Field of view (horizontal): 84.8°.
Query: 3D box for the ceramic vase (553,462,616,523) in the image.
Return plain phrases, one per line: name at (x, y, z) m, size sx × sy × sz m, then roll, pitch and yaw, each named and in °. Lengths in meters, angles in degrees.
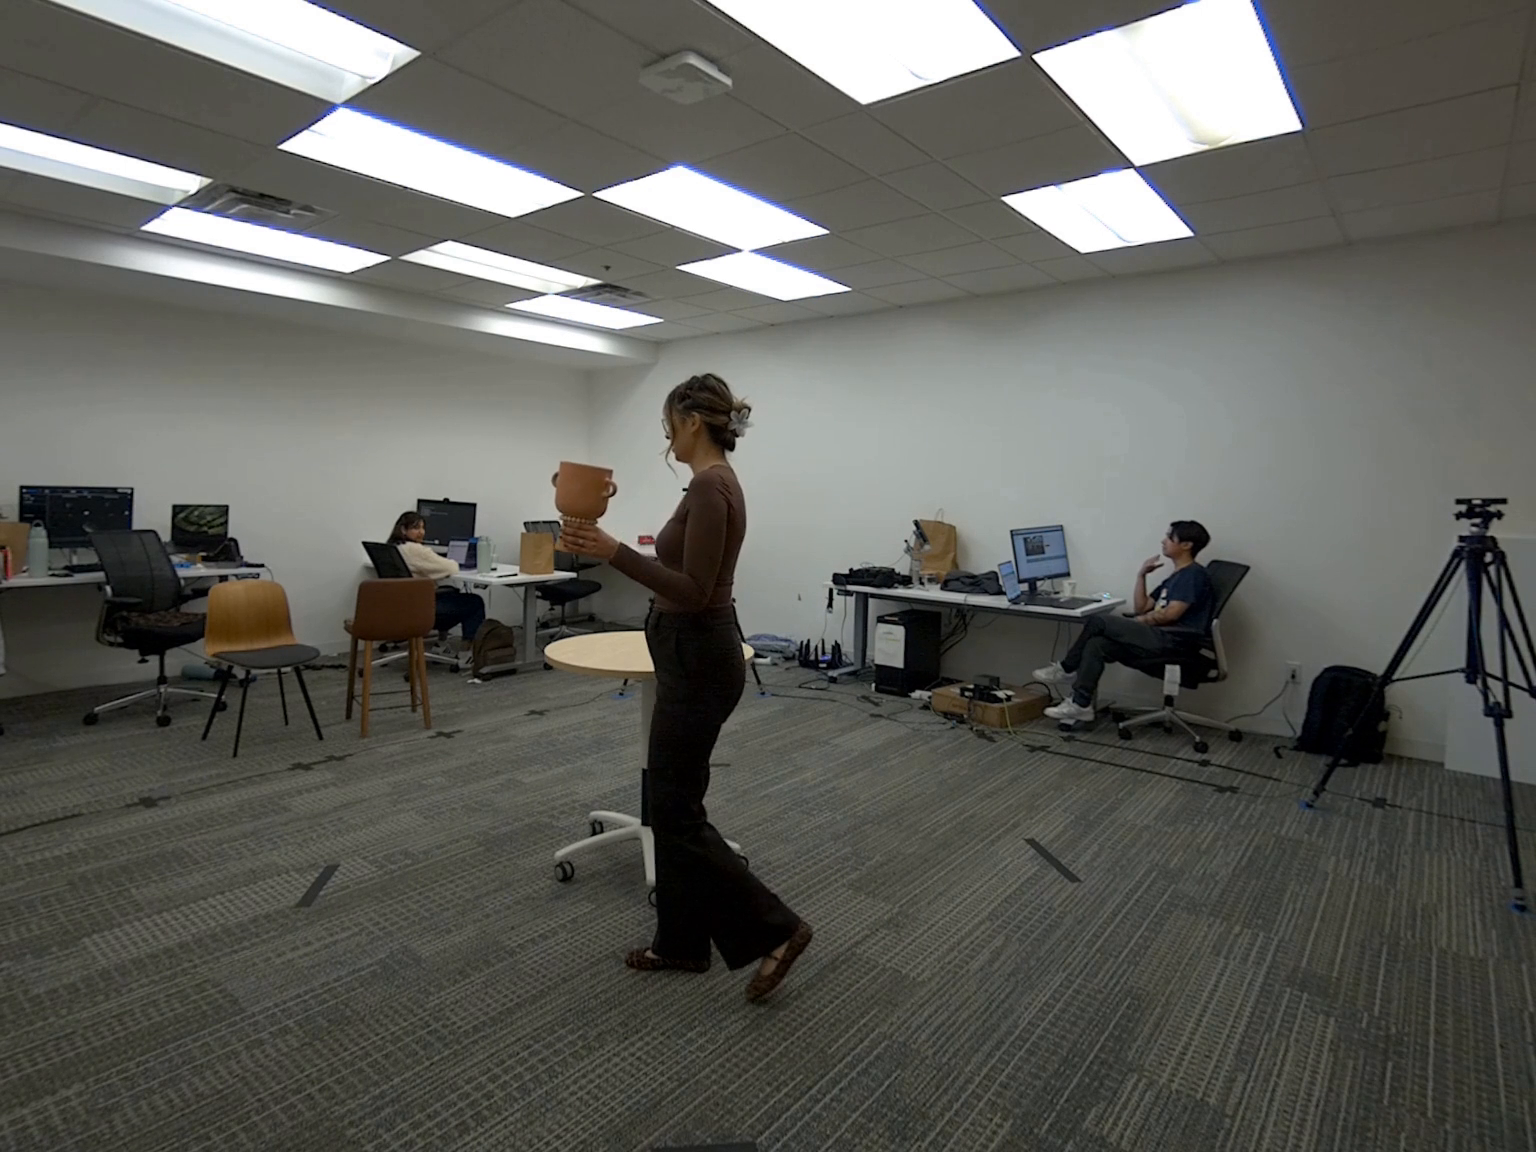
ceramic vase at (-0.475, -0.173, 2.135) m, size 0.131 × 0.219 × 0.163 m, roll 7°, pitch 2°, yaw -26°
